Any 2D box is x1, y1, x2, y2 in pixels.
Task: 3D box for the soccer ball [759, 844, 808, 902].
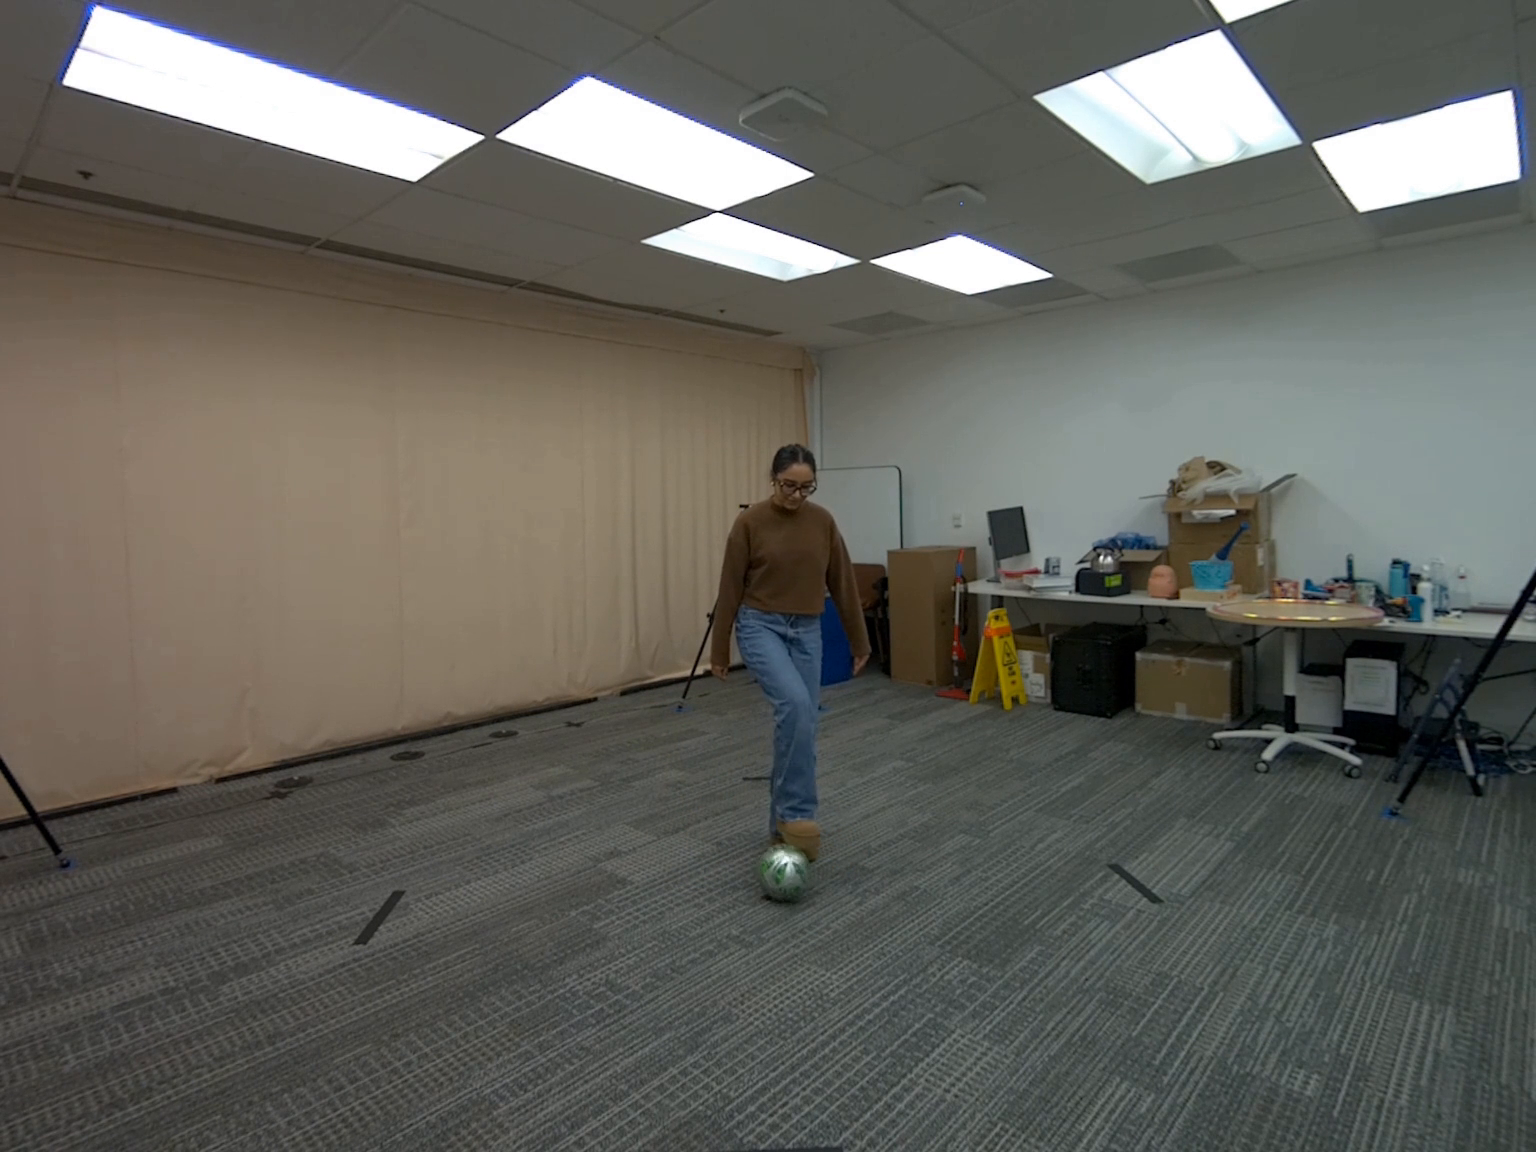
[{"bbox_3d":[0.050,1.040,2.968,0.187,0.187,0.188,-1,4,-2],"label":"soccer ball"}]
